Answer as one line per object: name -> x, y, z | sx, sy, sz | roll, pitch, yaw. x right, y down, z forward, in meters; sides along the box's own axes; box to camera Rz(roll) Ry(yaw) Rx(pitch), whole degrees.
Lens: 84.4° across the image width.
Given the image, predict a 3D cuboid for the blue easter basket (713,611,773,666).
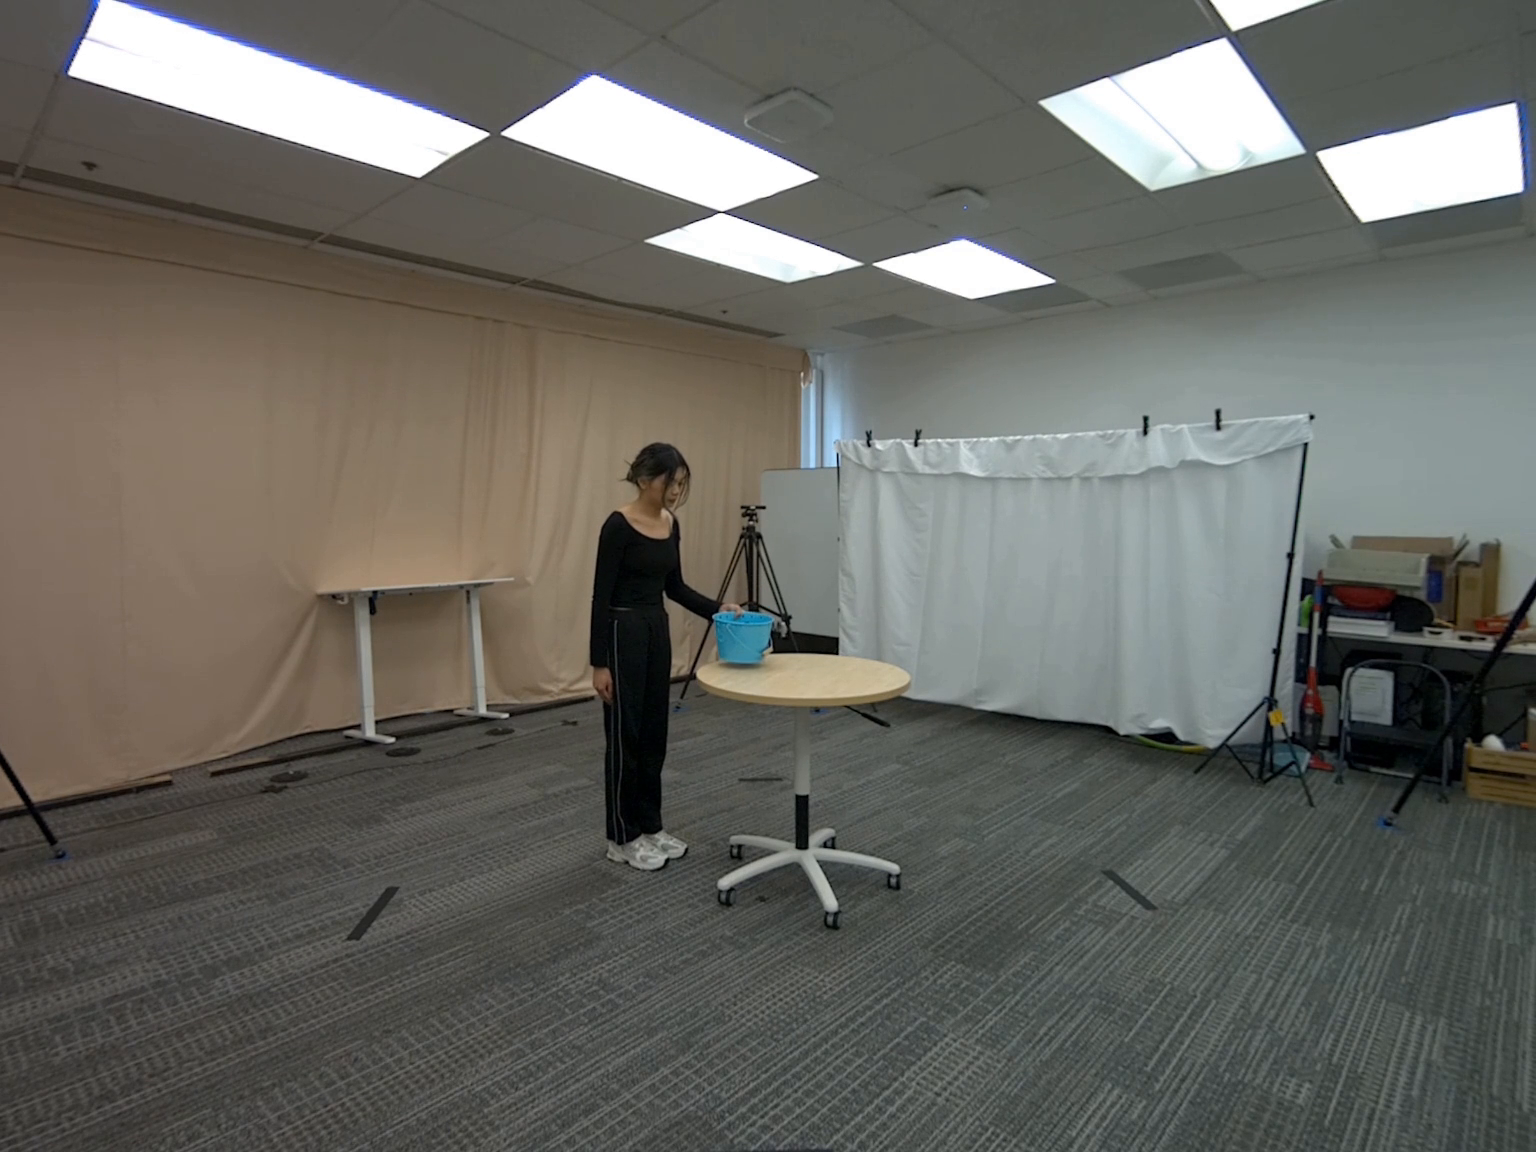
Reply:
blue easter basket -> -0.095, 0.237, 3.177 | 0.243, 0.155, 0.245 | 2, 6, -2
